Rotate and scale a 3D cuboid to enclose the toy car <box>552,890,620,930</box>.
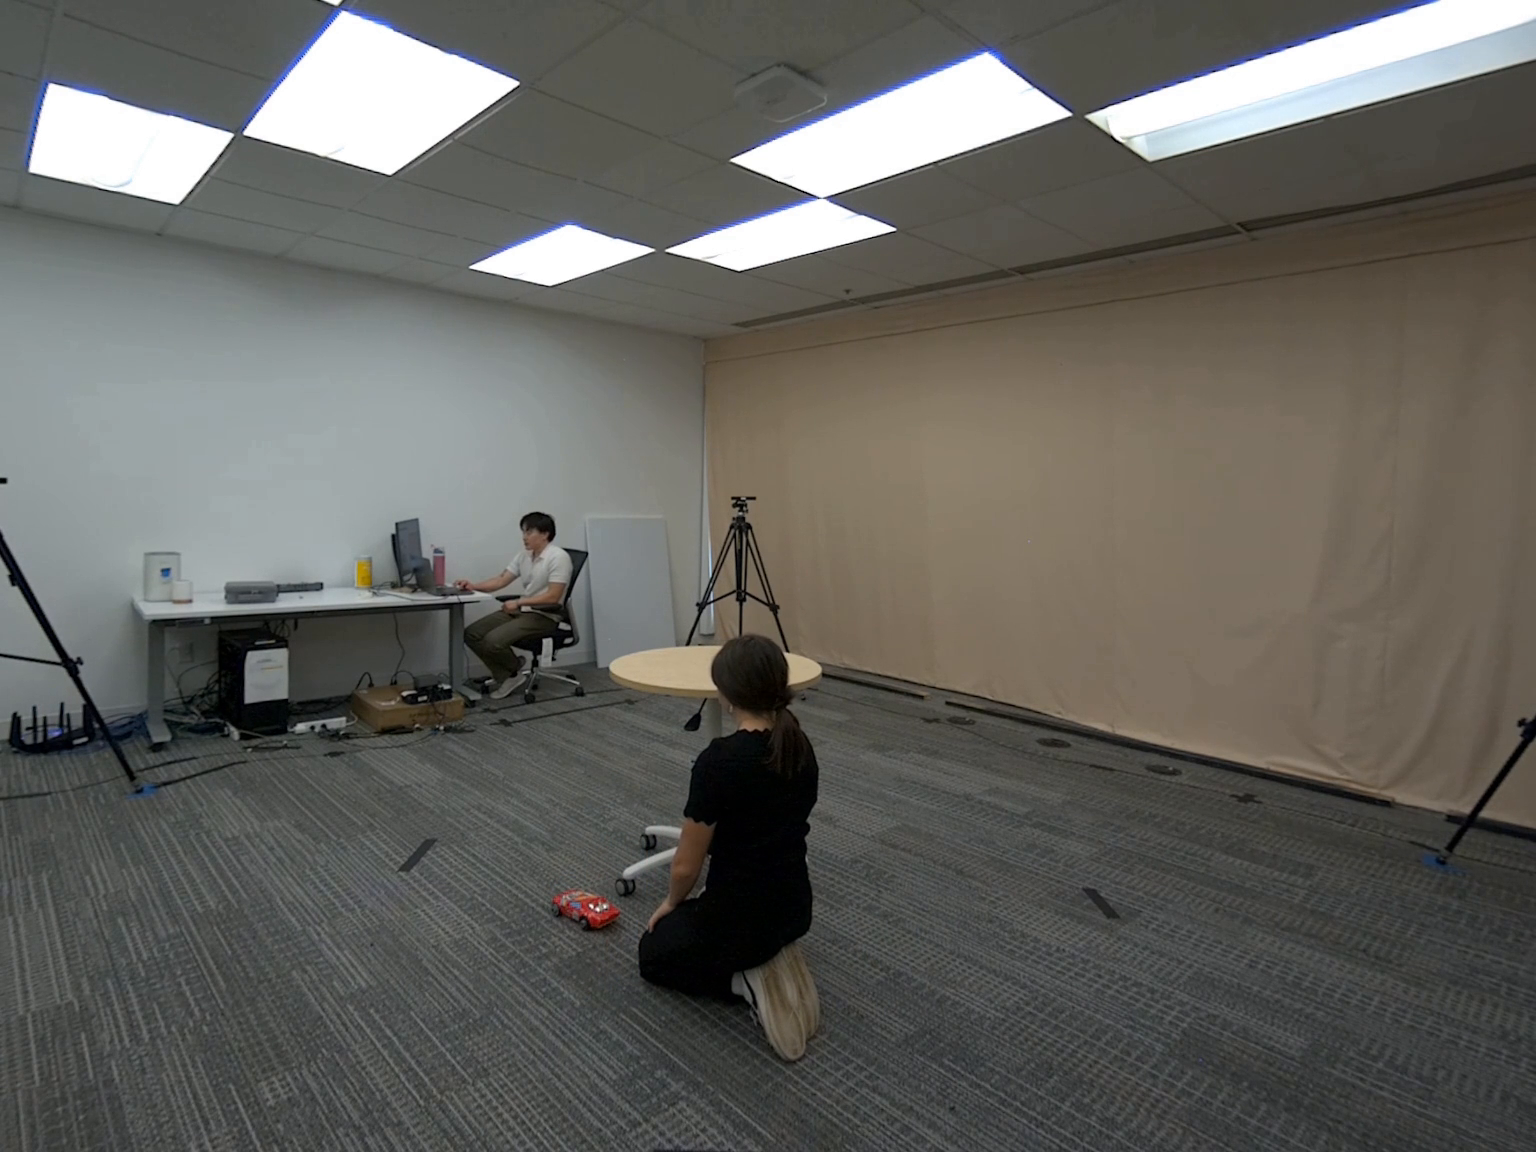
[{"bbox_3d":[-0.601,1.099,2.752,0.259,0.083,0.127,-9,-4,39],"label":"toy car"}]
